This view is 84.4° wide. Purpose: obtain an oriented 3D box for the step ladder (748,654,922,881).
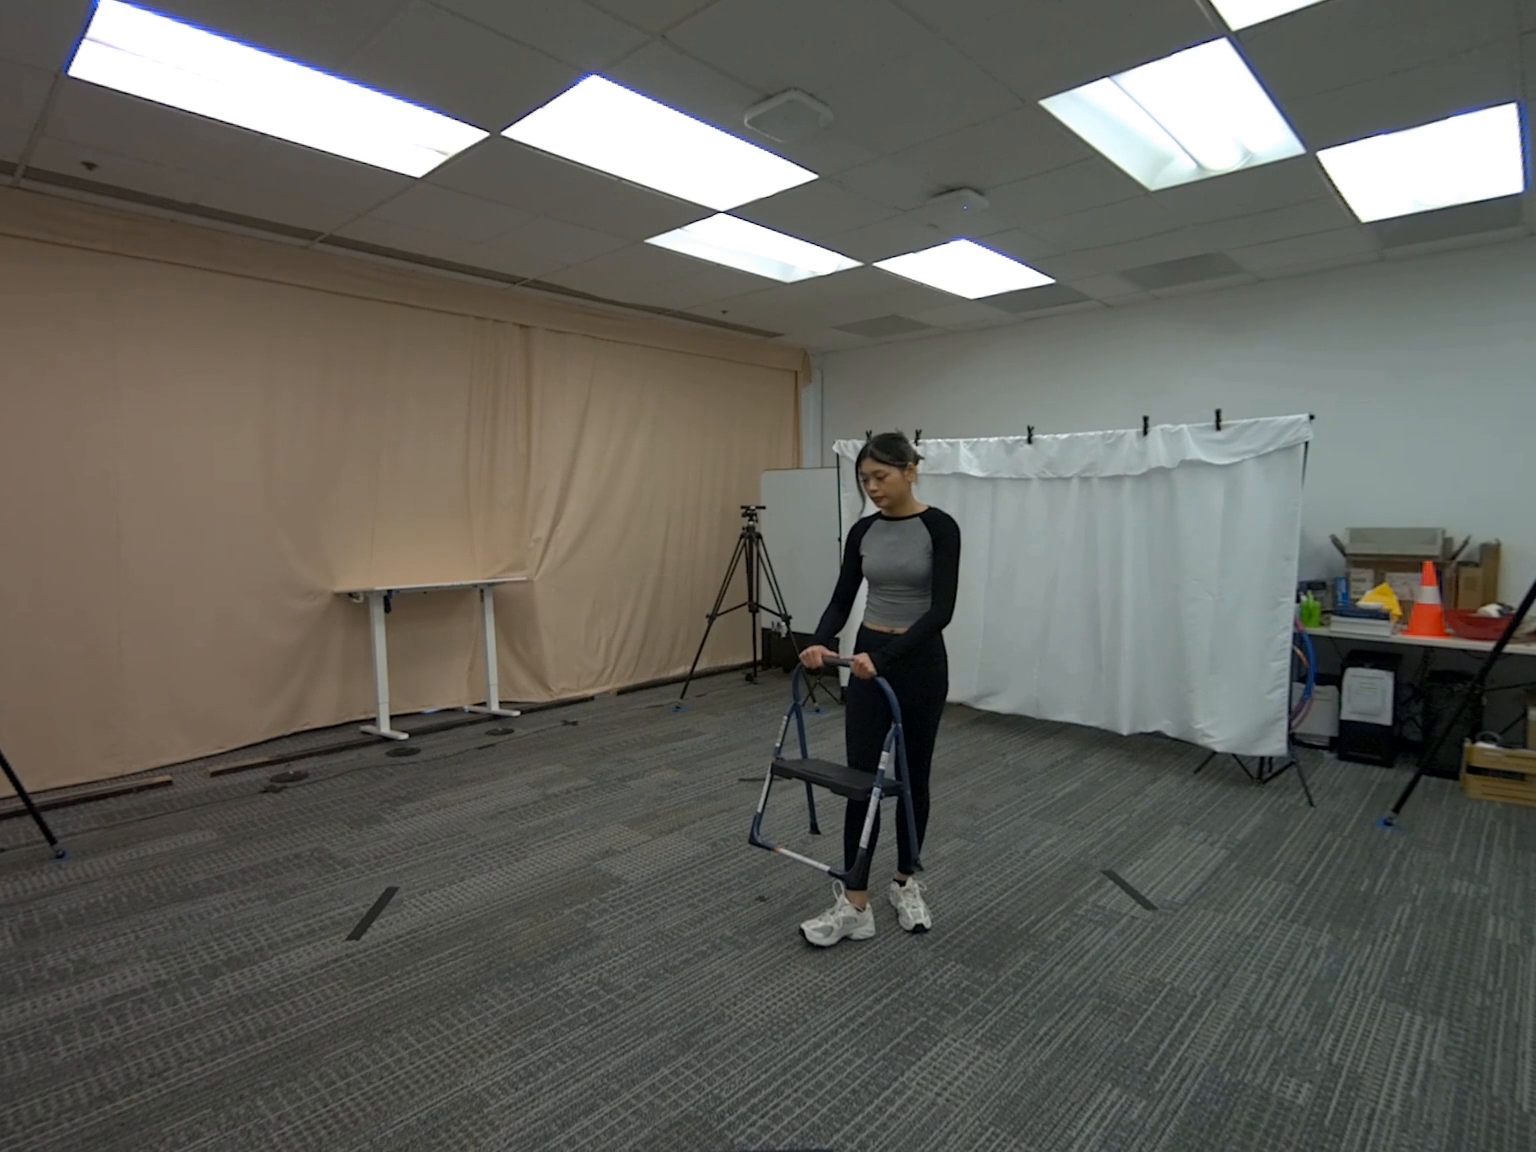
[{"bbox_3d":[0.234,0.564,2.600,0.445,0.607,0.337,2,-4,43],"label":"step ladder"}]
